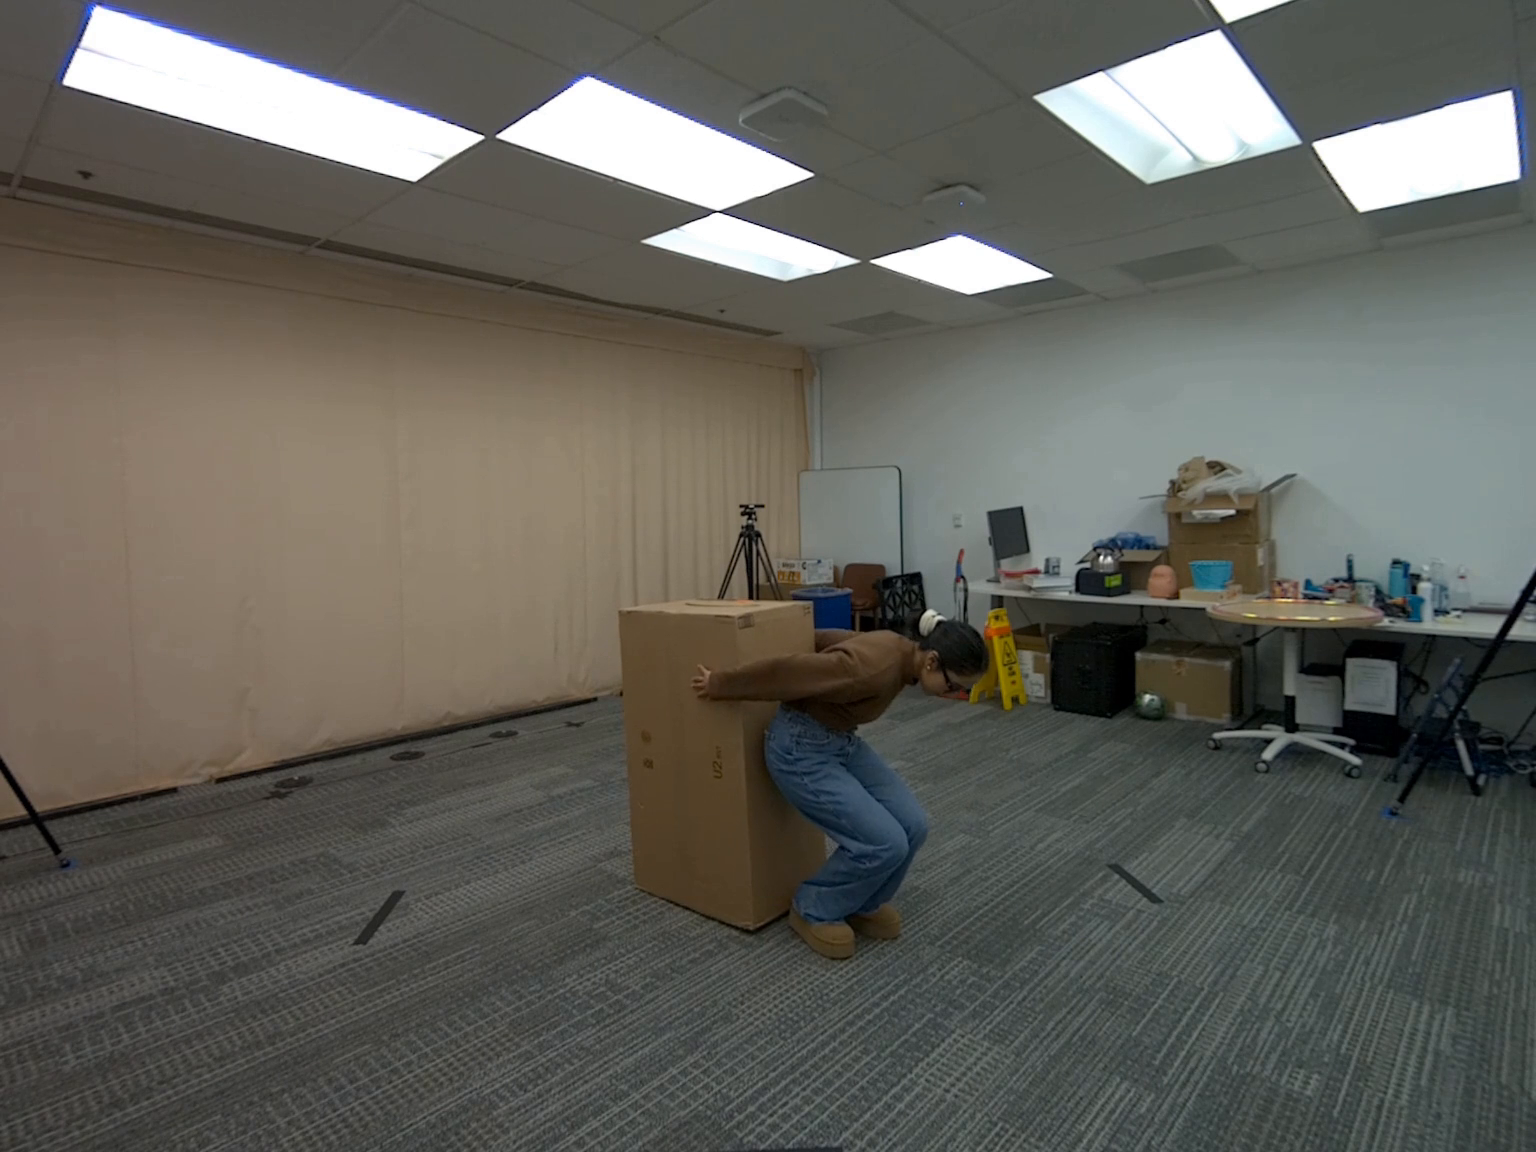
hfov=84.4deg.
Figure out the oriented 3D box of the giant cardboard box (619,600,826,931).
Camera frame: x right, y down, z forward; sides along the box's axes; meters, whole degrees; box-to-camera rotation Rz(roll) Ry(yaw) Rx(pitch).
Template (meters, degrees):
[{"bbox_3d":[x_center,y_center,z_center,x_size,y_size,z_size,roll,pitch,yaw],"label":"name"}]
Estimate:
[{"bbox_3d":[-0.167,0.623,3.043,0.602,1.025,0.433,-1,3,40],"label":"giant cardboard box"}]
